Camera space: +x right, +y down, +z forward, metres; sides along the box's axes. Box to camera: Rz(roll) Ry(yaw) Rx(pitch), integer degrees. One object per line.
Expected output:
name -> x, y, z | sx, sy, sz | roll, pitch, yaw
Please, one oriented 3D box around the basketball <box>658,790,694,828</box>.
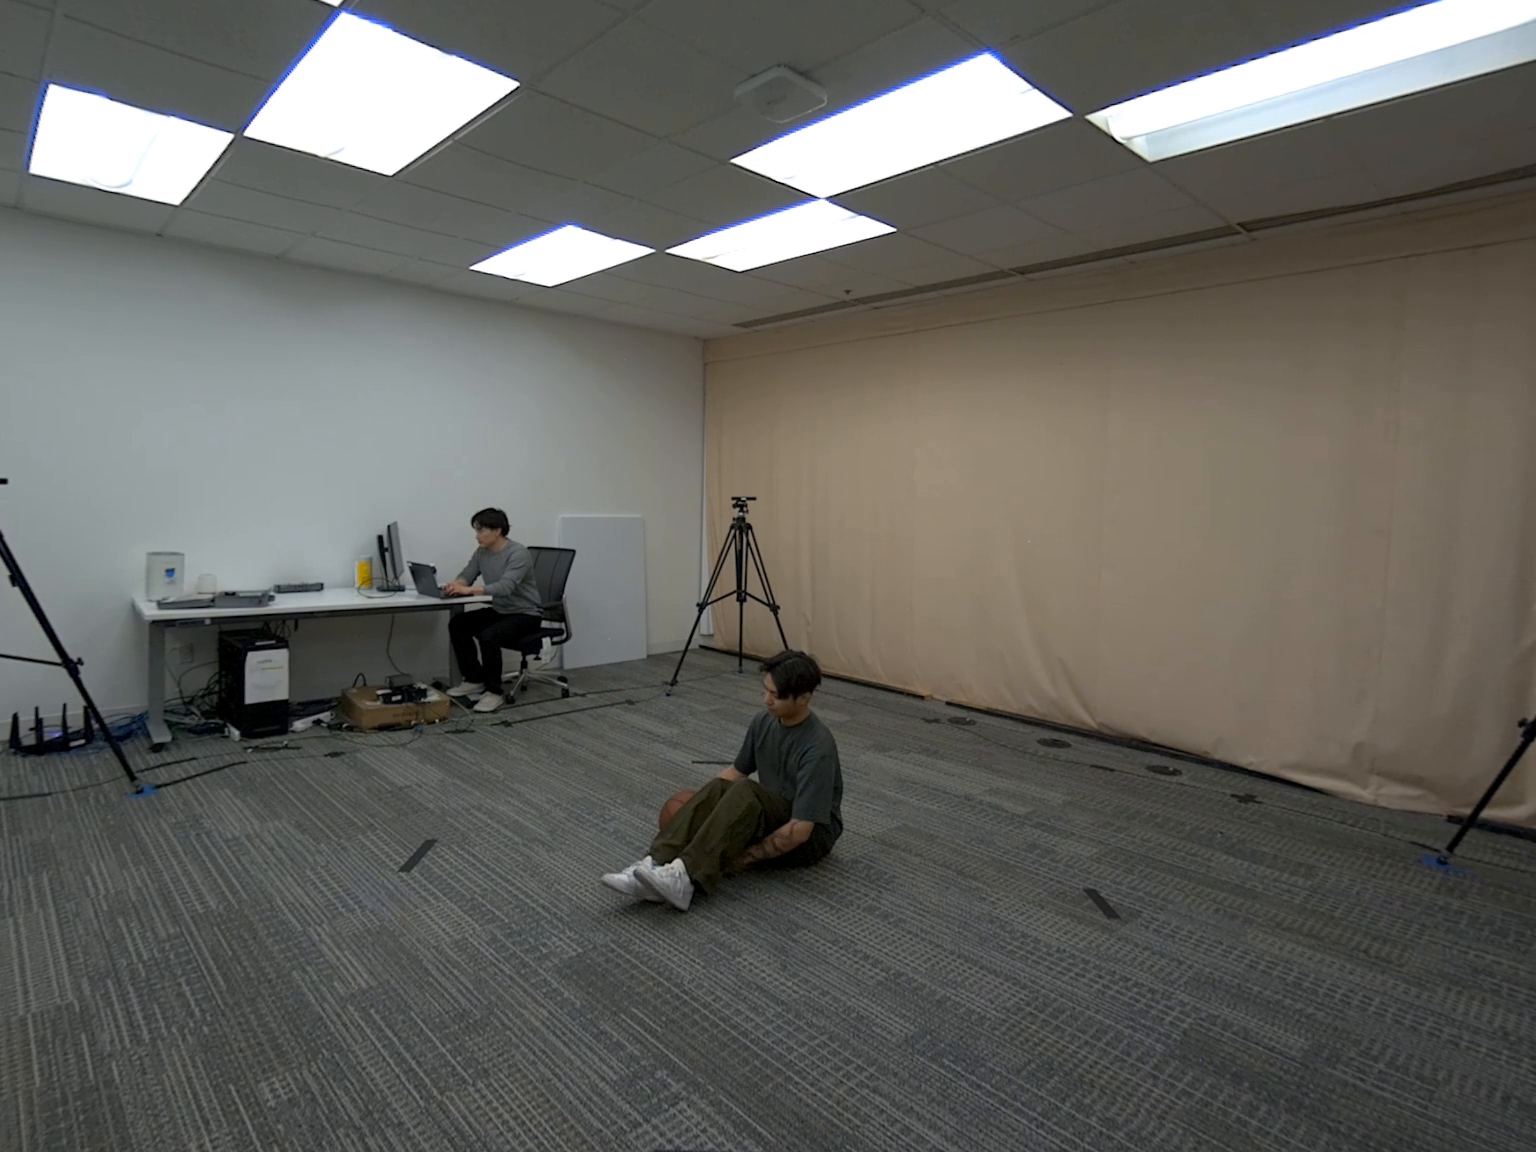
basketball -> -0.311, 0.966, 3.300 | 0.236, 0.235, 0.237 | 1, 4, -1
